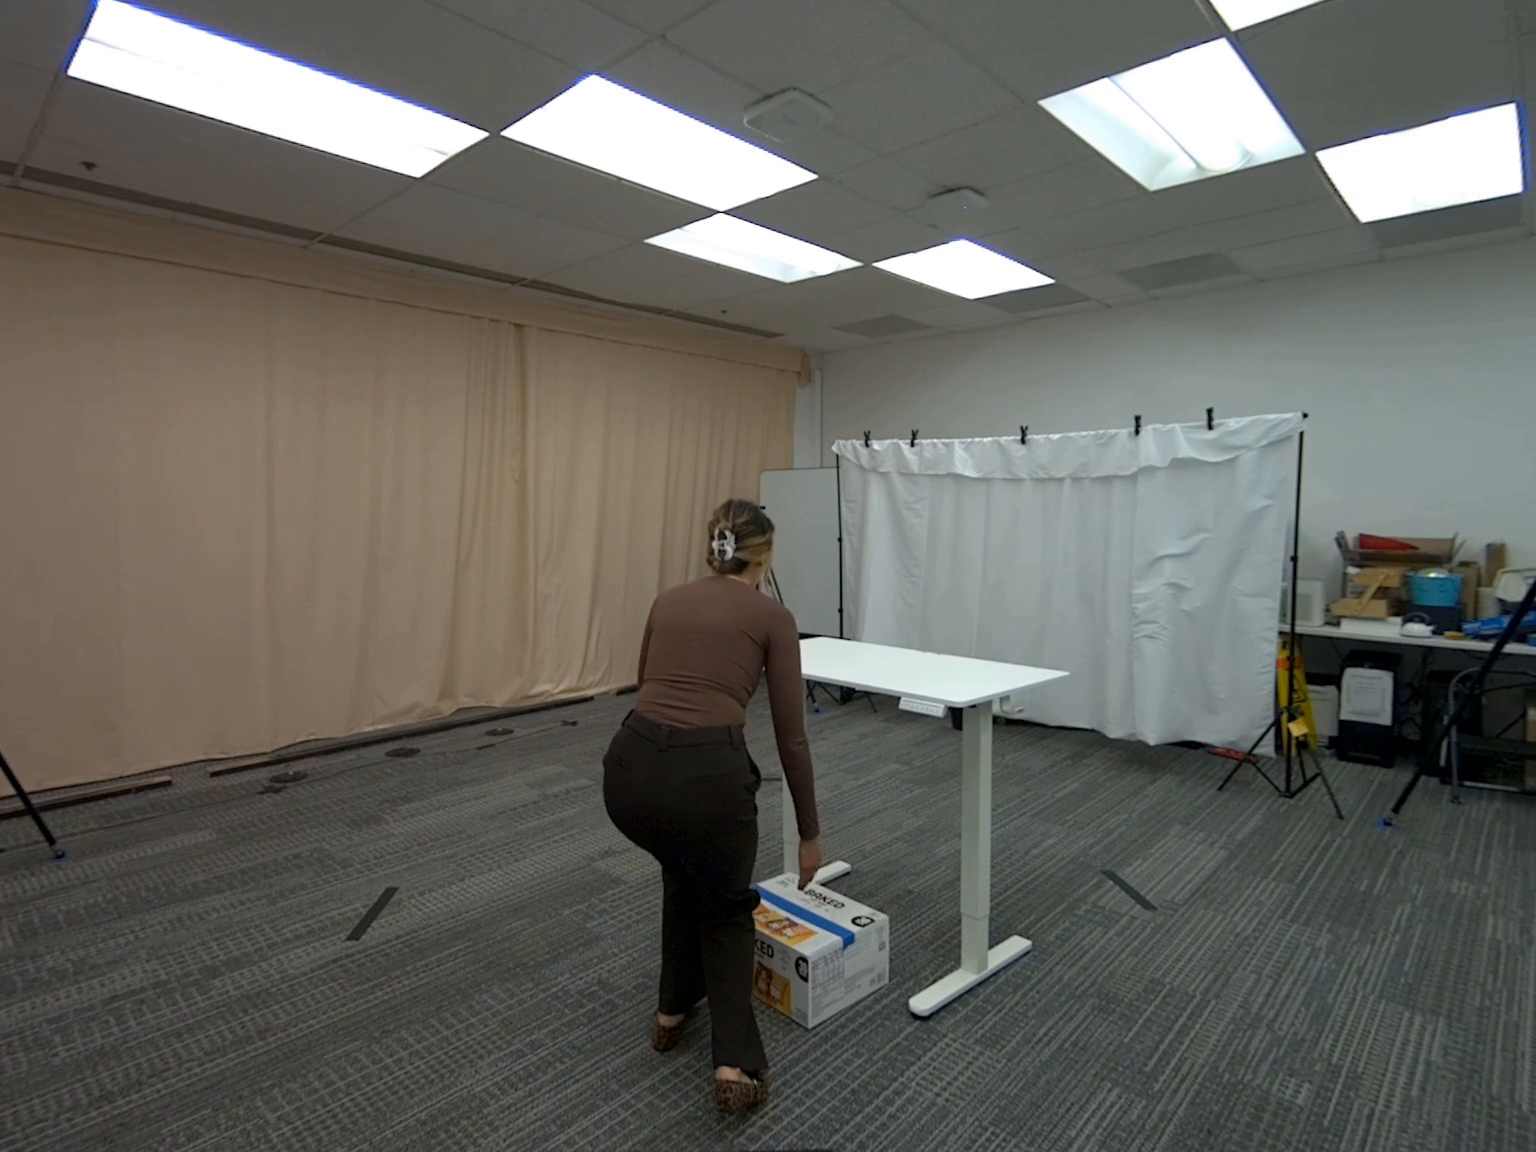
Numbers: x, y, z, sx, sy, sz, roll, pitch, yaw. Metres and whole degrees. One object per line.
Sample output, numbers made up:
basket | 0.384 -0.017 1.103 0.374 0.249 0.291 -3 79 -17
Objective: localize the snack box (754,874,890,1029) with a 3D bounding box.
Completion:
snack box | 0.093 1.086 2.479 0.330 0.205 0.418 -4 5 -43
